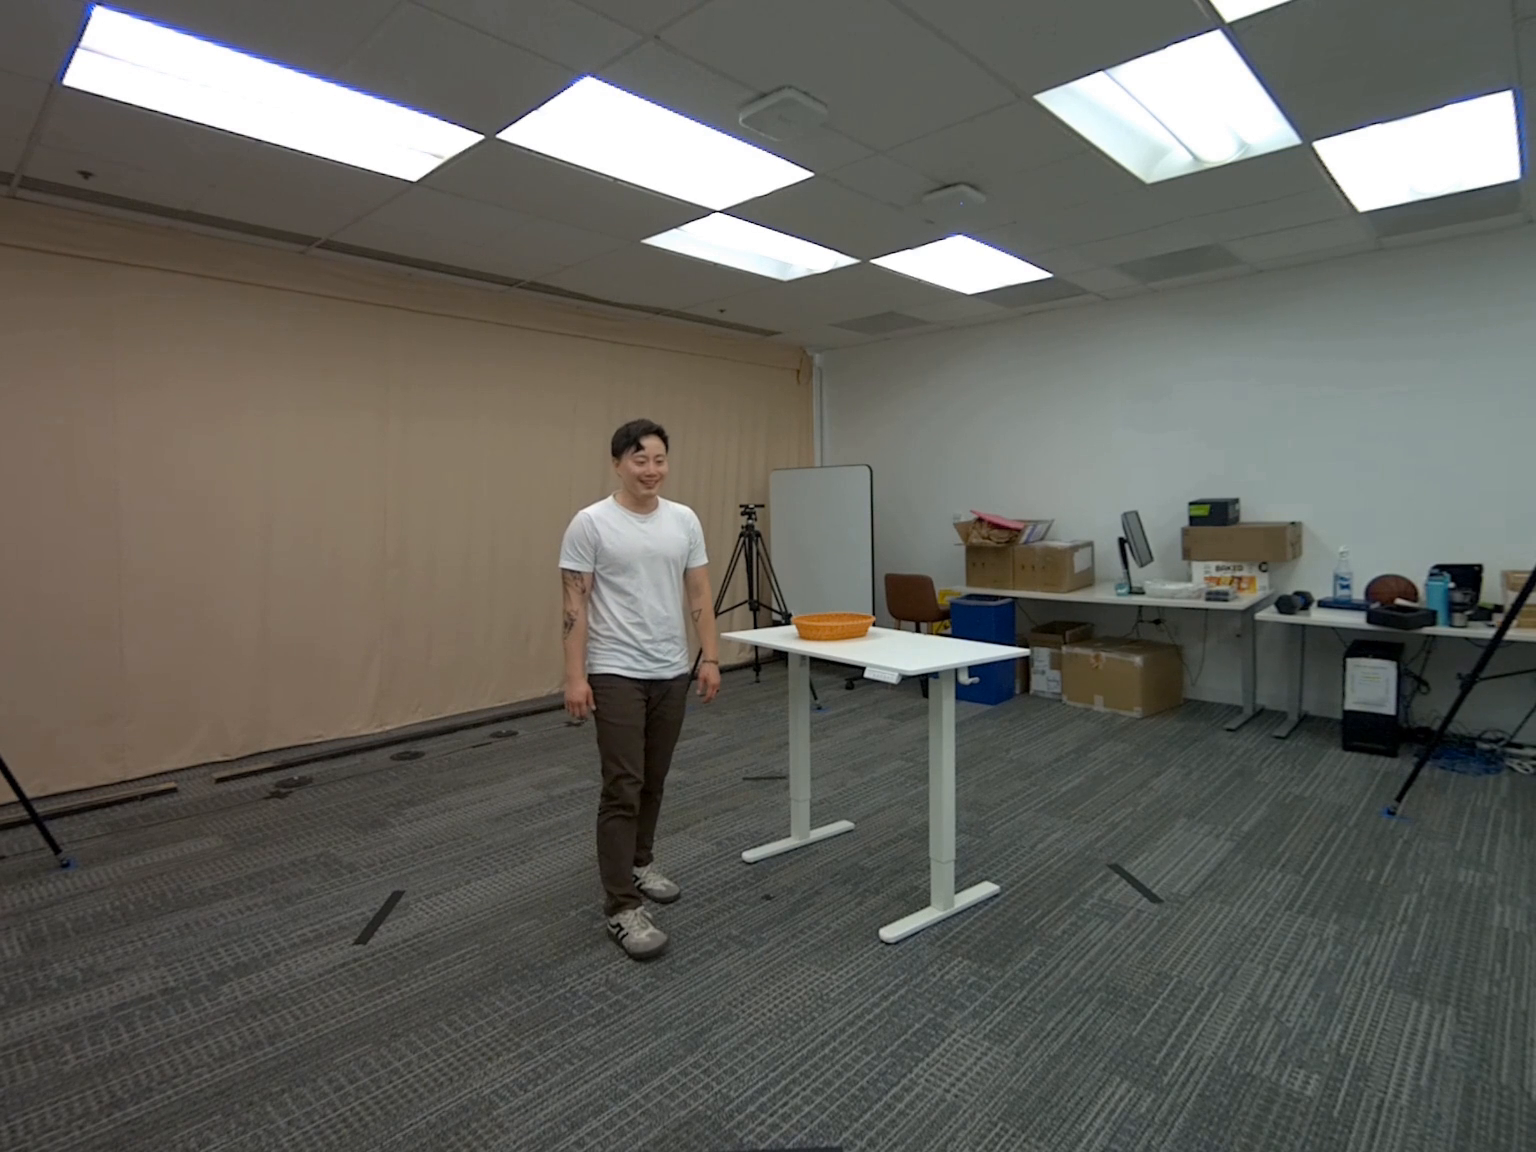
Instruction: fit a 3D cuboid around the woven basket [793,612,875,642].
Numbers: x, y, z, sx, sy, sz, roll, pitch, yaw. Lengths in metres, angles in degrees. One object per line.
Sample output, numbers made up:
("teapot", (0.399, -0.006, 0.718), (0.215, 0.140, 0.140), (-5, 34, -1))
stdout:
("woven basket", (0.272, 0.204, 3.234), (0.340, 0.073, 0.260), (-4, 6, -34))
